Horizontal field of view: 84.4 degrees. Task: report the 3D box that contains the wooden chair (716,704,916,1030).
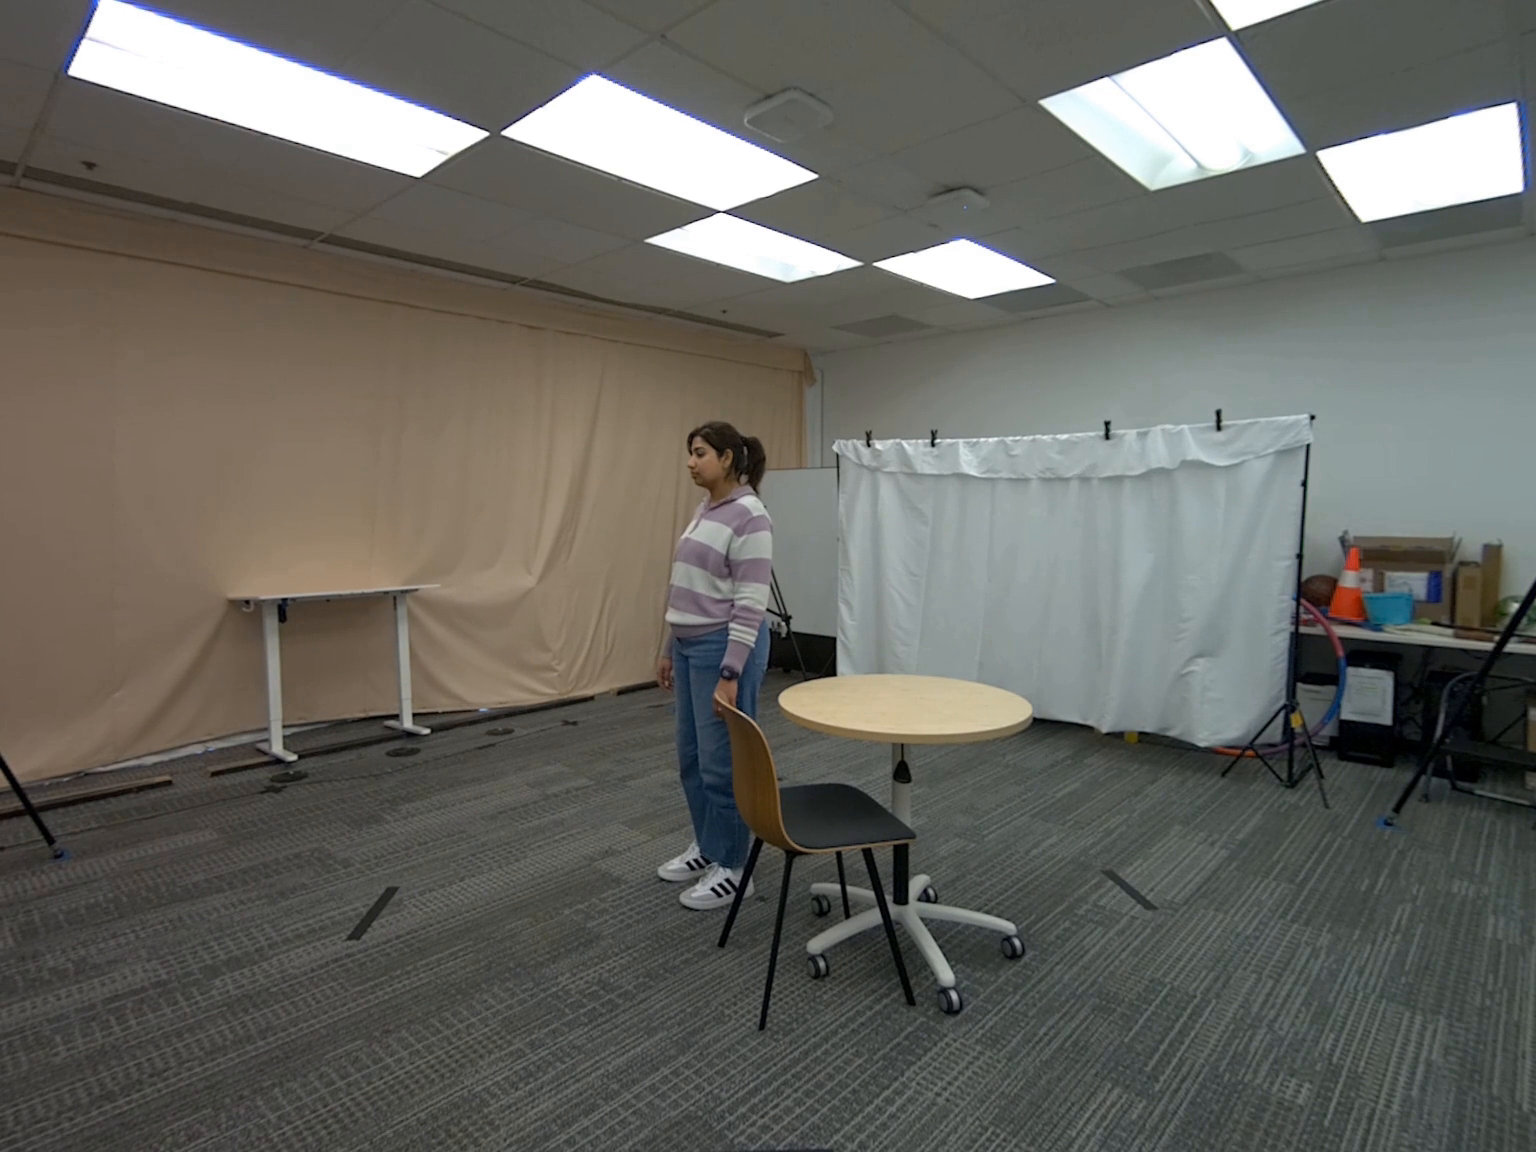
[{"bbox_3d":[0.142,0.758,2.478,0.515,0.875,0.487,-5,4,-16],"label":"wooden chair"}]
